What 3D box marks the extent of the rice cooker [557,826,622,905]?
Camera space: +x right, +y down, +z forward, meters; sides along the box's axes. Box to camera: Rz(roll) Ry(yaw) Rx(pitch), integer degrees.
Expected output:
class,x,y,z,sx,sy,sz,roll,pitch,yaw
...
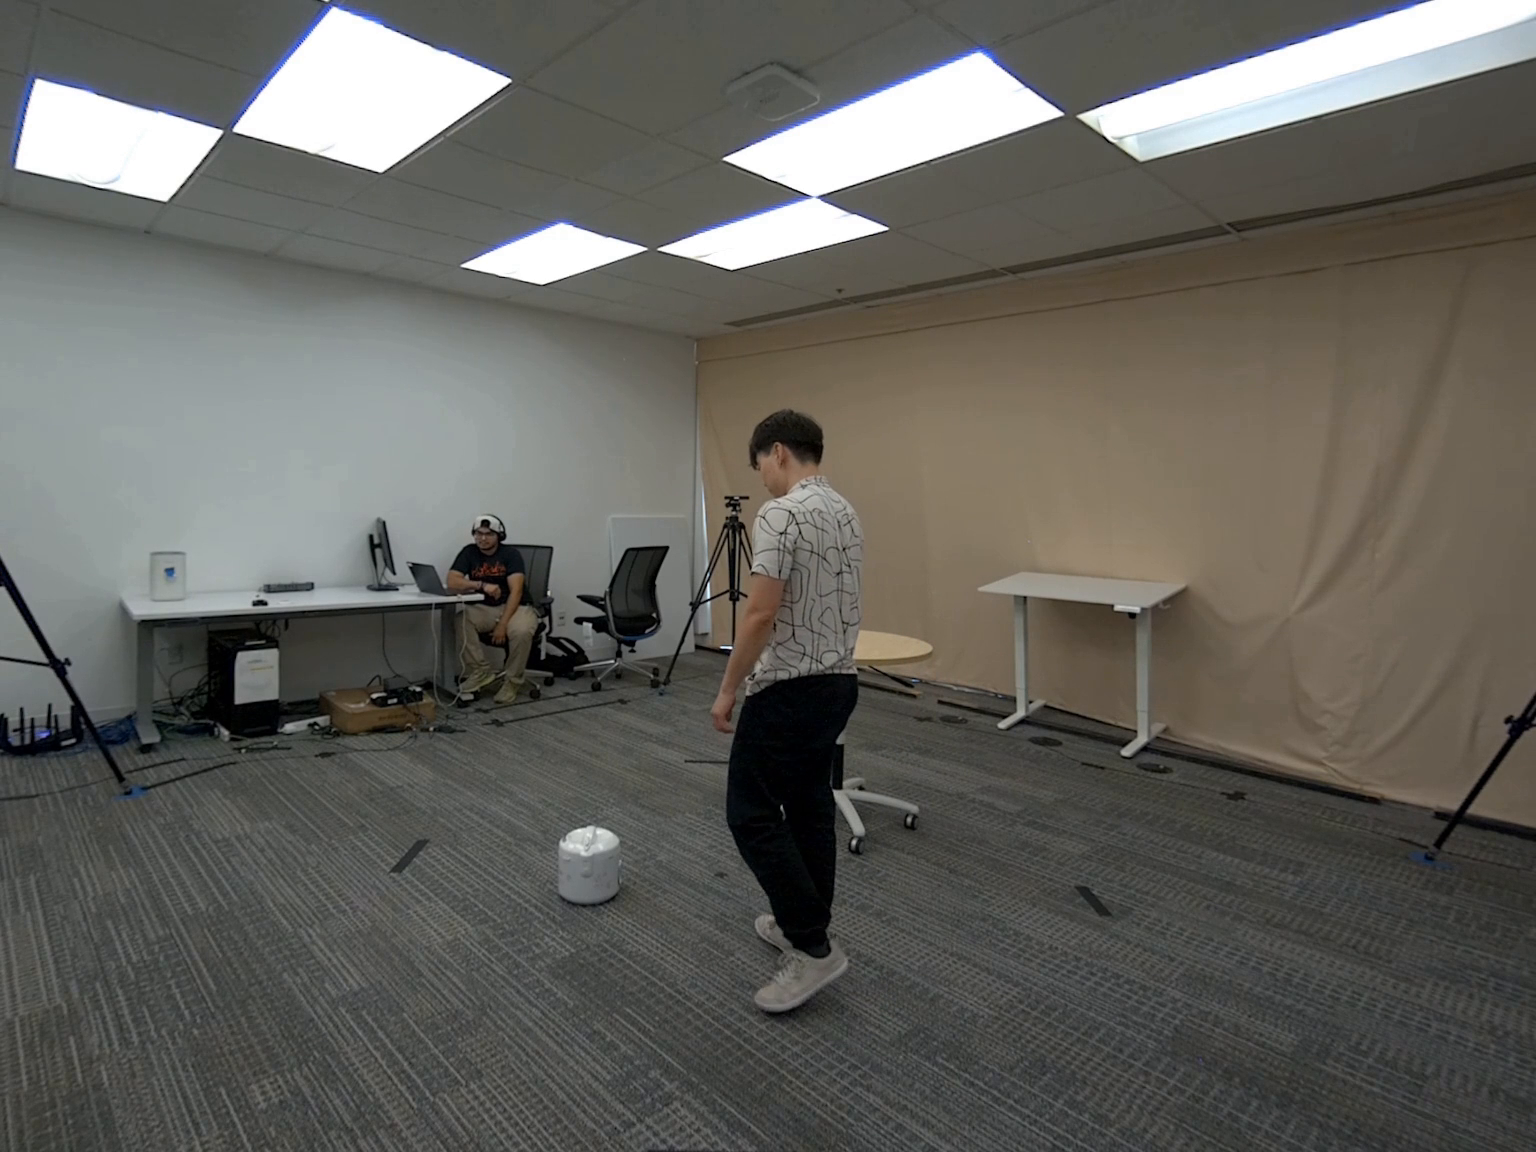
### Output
class,x,y,z,sx,sy,sz,roll,pitch,yaw
rice cooker,-0.622,0.992,2.923,0.217,0.232,0.222,1,4,-3
